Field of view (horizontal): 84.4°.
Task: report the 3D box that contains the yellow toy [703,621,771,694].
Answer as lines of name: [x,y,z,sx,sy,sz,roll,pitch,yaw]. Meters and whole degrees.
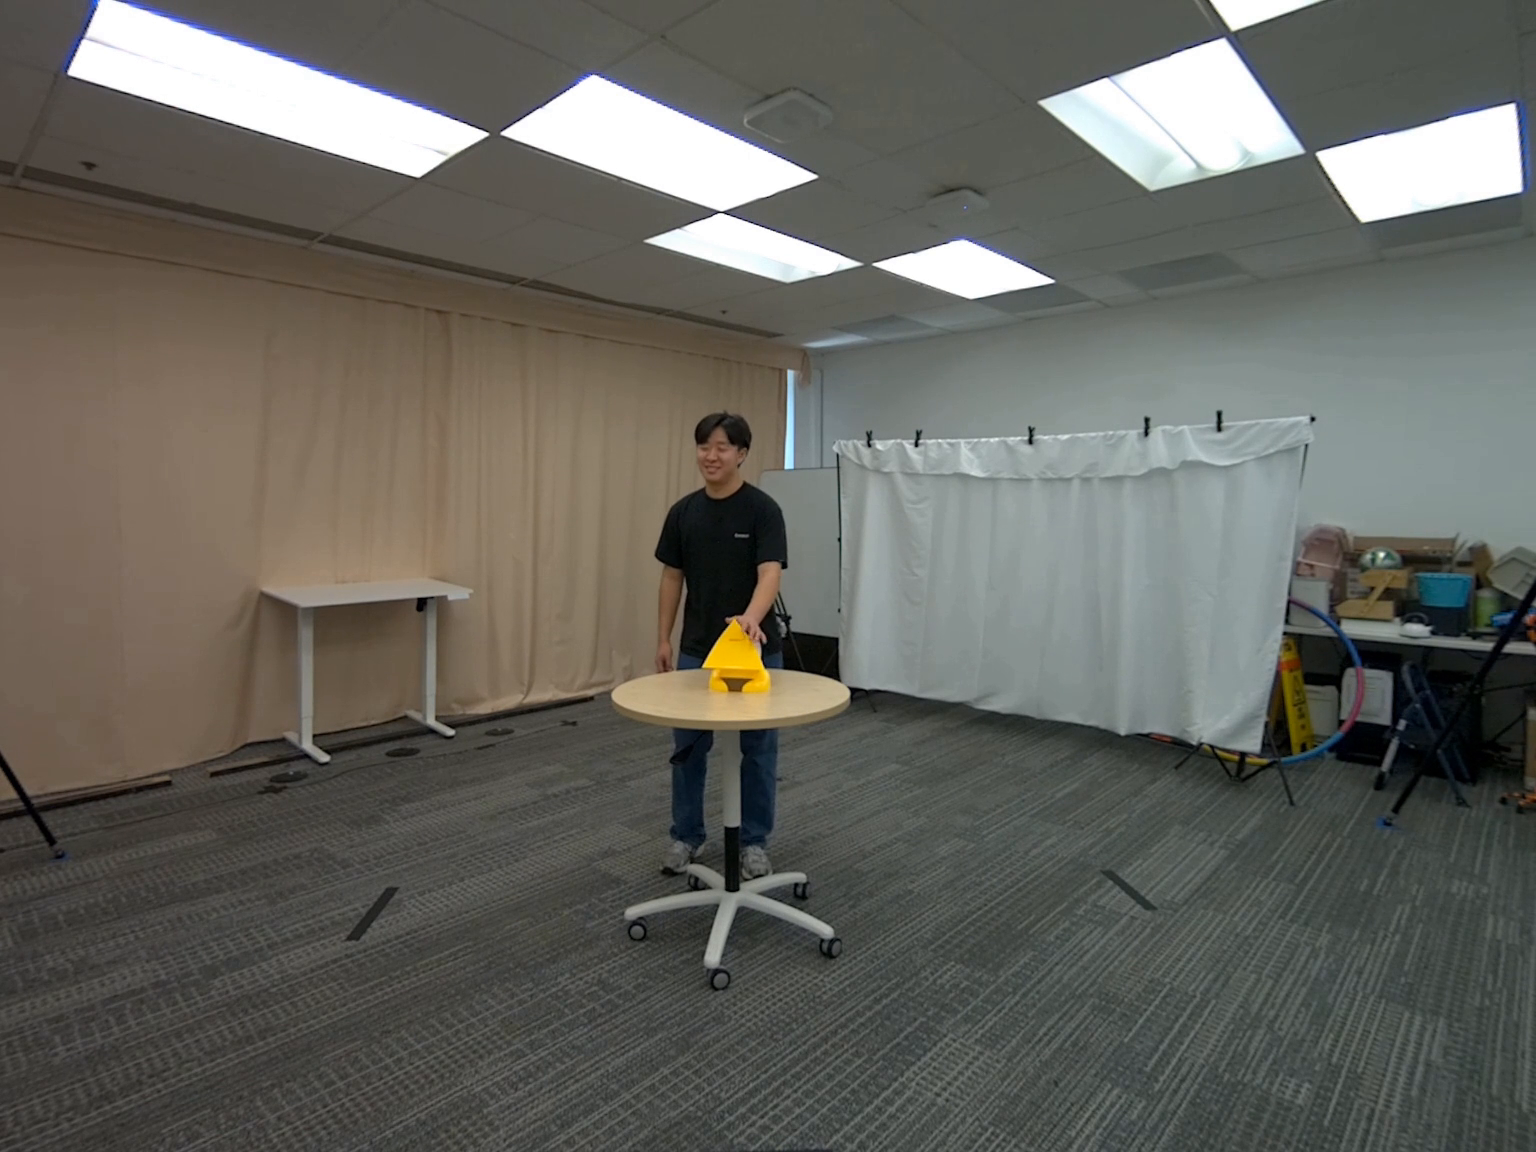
yellow toy: [-0.086,0.250,2.765,0.208,0.230,0.191,2,5,13]
